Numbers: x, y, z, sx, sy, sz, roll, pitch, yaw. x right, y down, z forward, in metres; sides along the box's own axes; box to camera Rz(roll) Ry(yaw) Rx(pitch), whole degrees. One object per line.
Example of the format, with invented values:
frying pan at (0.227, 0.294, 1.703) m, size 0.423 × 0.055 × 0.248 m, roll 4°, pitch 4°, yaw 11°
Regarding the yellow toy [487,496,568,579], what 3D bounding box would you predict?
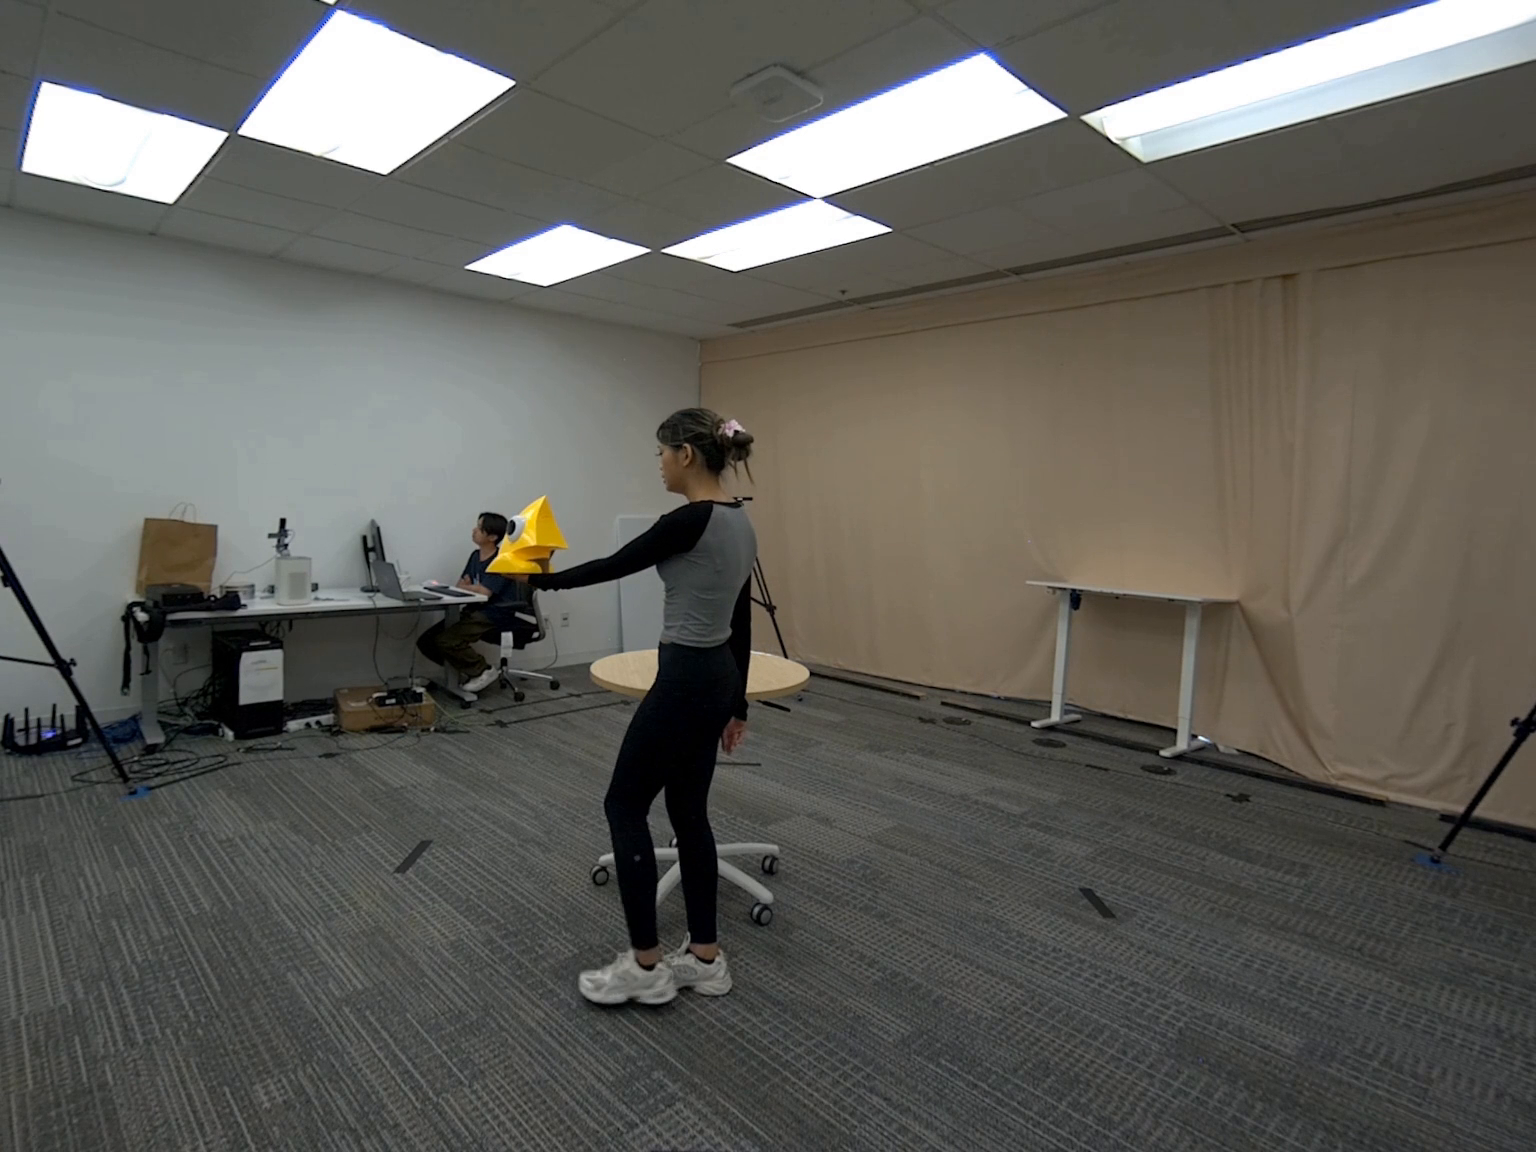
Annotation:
yellow toy at (-0.721, -0.121, 2.504) m, size 0.195 × 0.231 × 0.202 m, roll 1°, pitch -1°, yaw 13°
